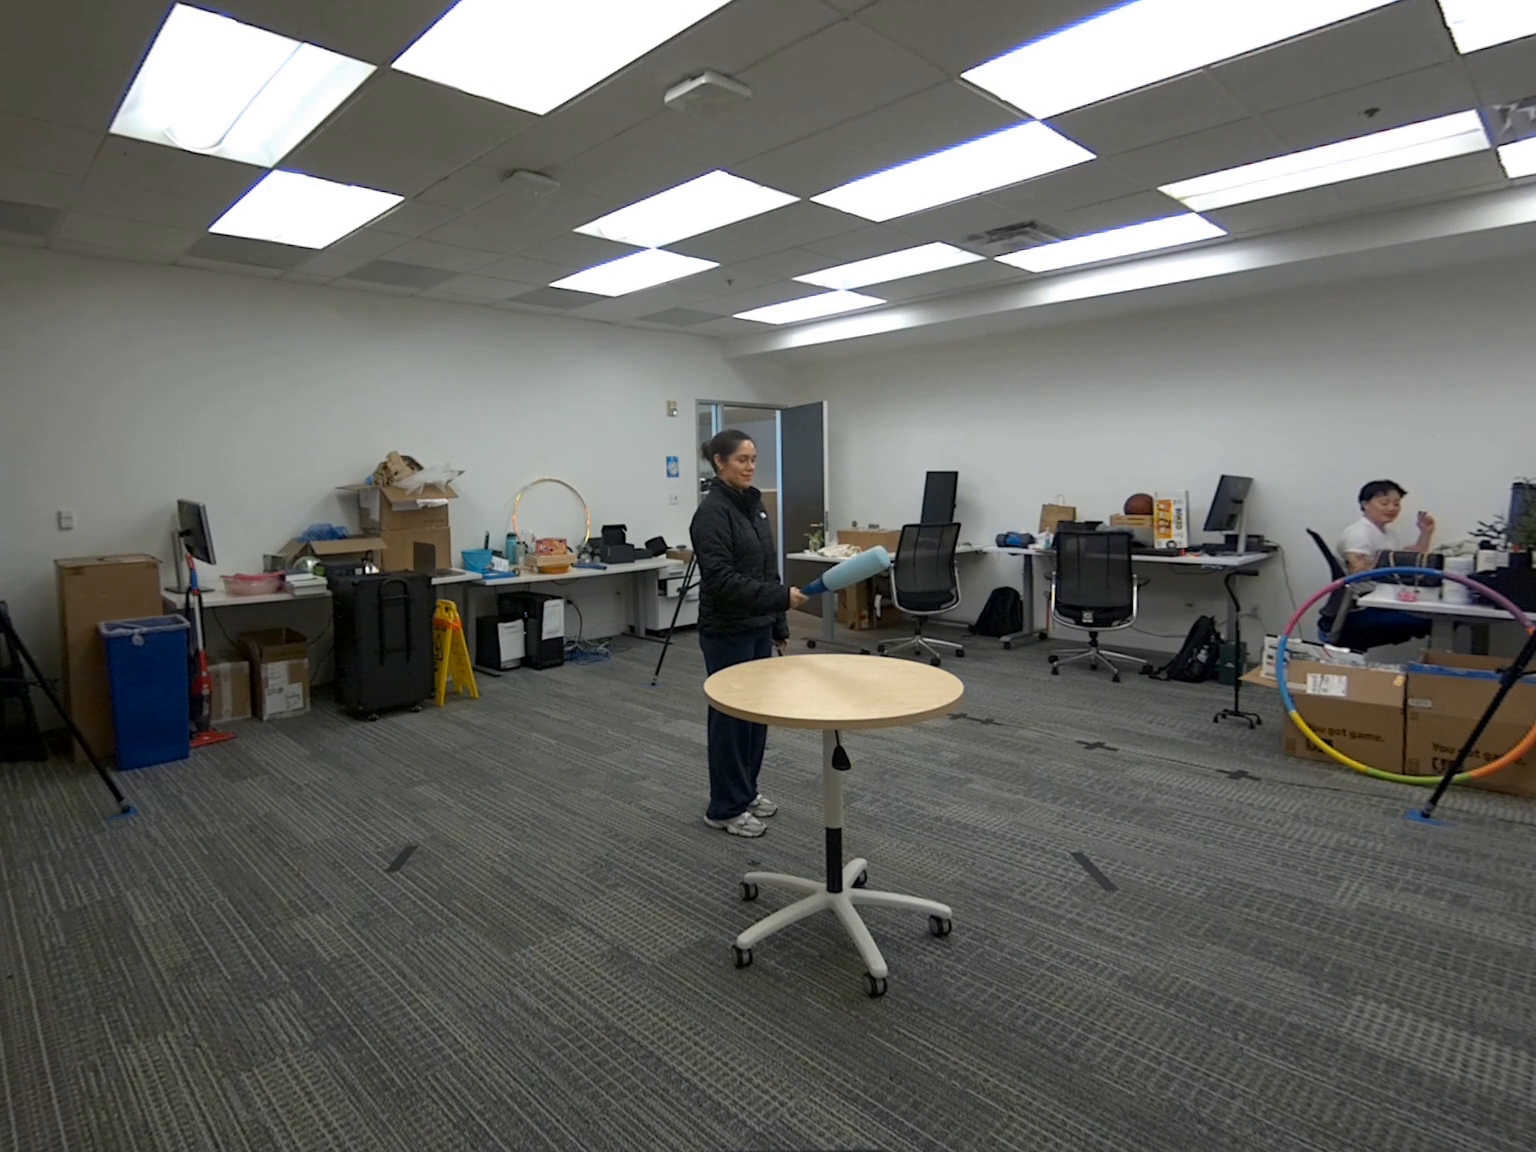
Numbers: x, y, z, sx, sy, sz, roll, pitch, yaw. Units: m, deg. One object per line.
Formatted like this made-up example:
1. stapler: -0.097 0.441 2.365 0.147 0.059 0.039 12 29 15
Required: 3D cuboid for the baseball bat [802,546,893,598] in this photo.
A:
1. baseball bat: 0.210 0.011 3.124 0.549 0.090 0.087 -28 -12 34
